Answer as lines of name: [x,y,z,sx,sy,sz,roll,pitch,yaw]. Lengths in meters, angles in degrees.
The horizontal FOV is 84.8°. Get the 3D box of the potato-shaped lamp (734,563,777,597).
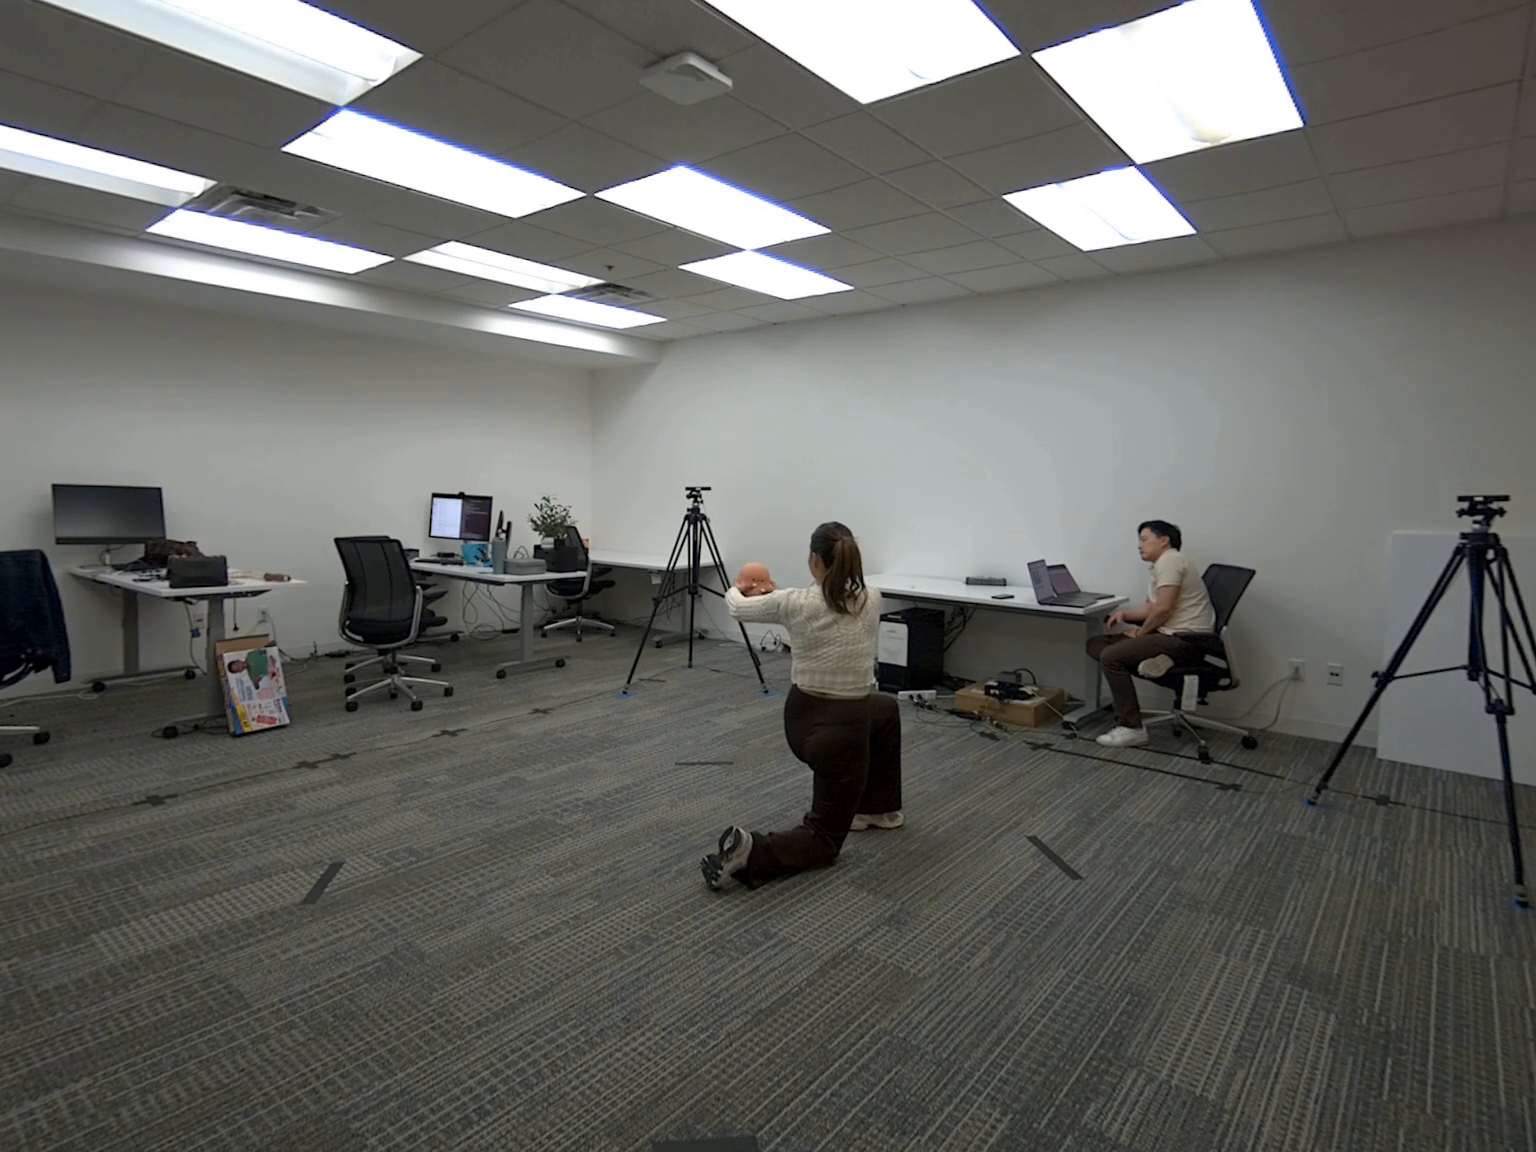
potato-shaped lamp: [-0.051,0.033,3.788,0.163,0.195,0.176,2,19,-9]
